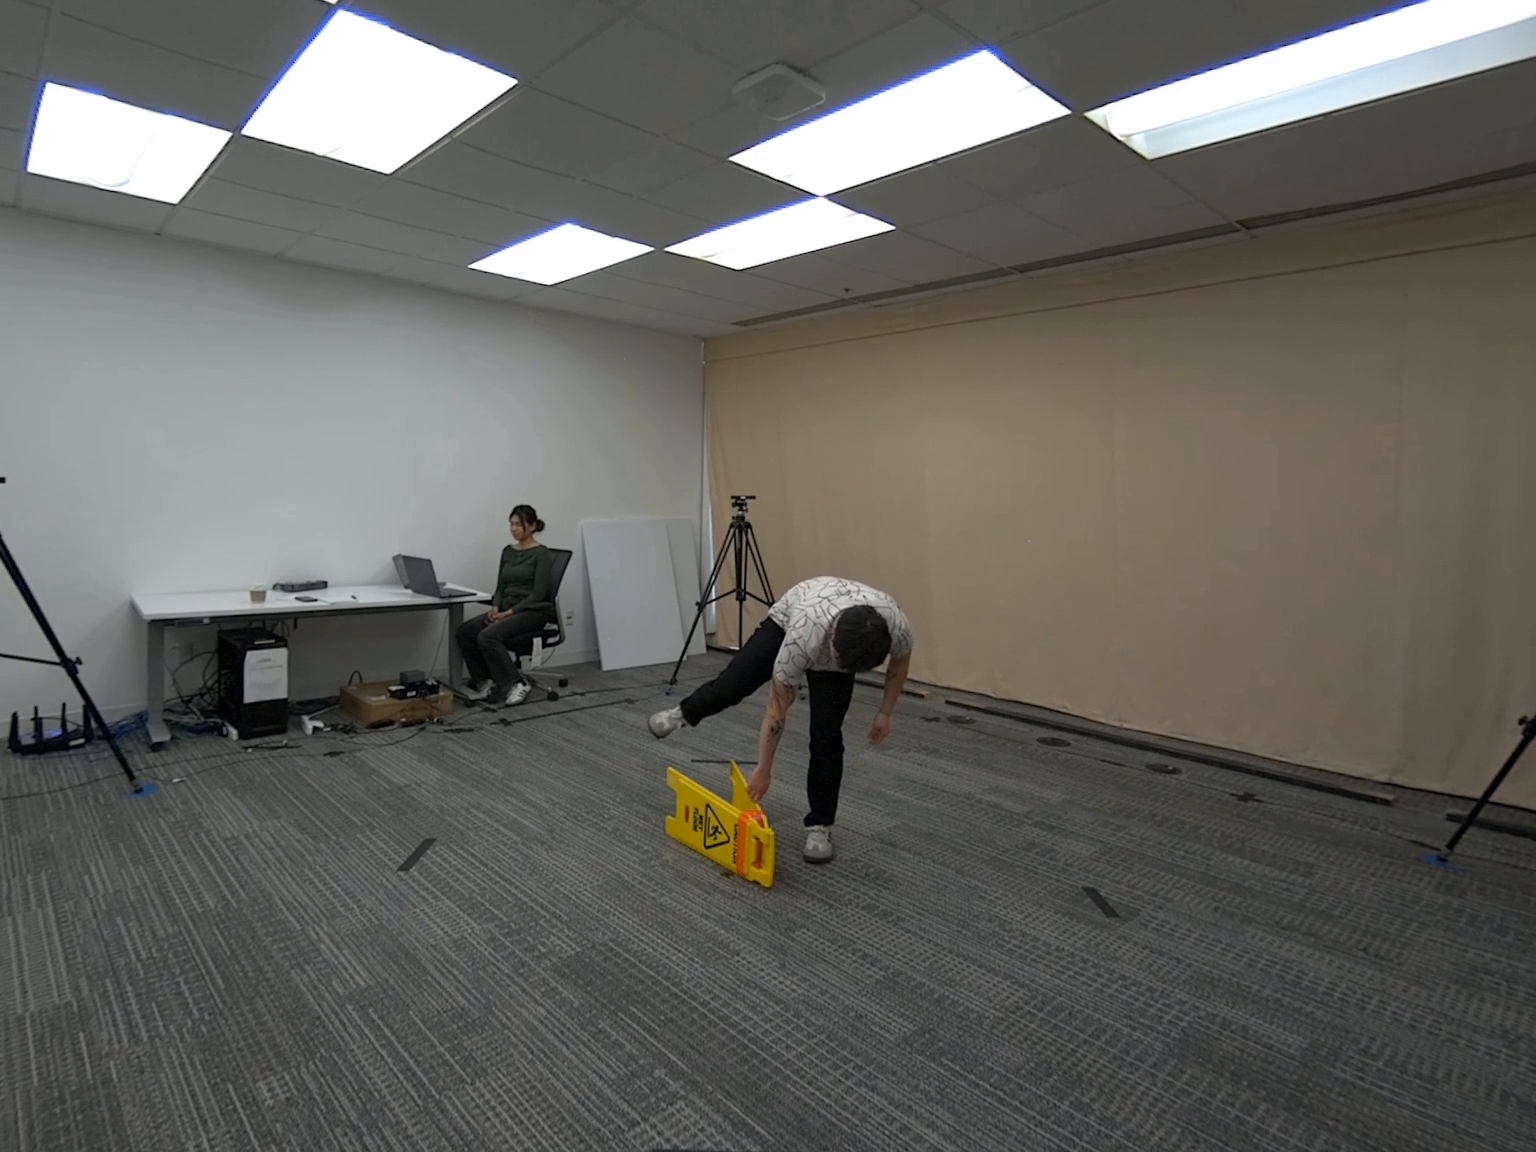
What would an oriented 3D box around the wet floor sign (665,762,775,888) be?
[{"bbox_3d":[-0.144,0.957,3.238,0.284,0.281,0.661,0,7,-27],"label":"wet floor sign"}]
